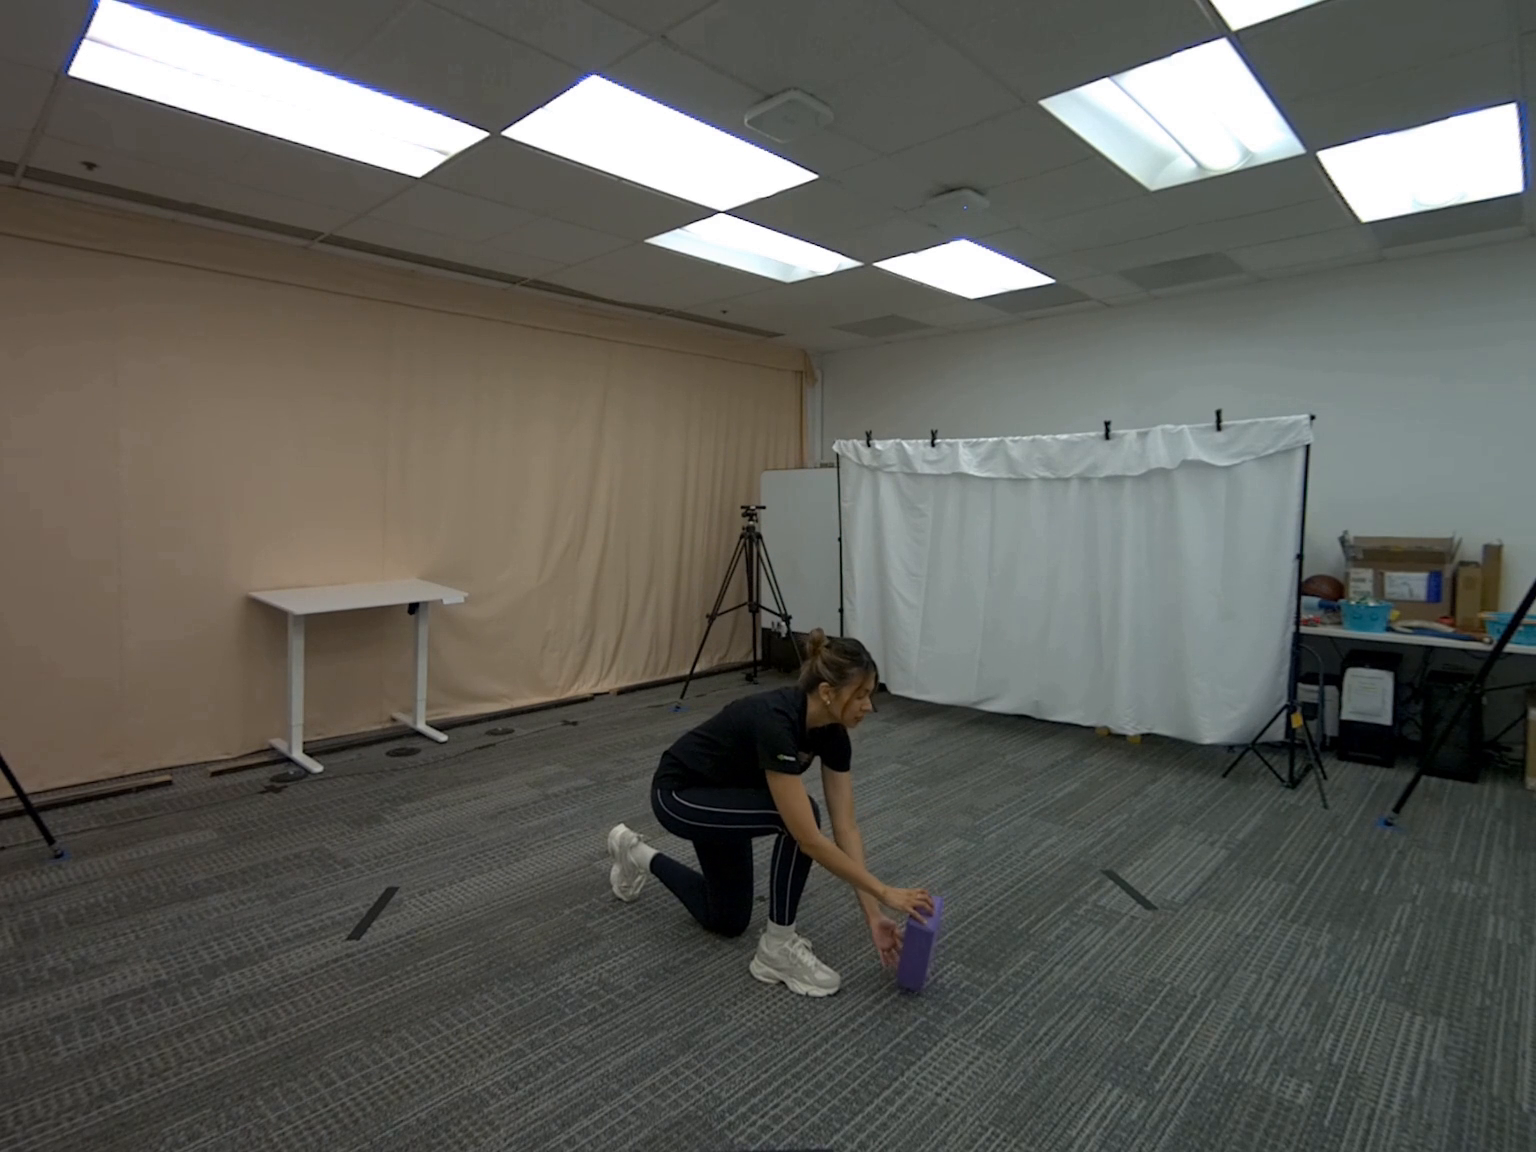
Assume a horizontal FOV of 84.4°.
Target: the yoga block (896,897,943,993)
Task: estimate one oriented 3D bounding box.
[{"bbox_3d":[0.447,1.041,2.389,0.078,0.227,0.147,13,20,17],"label":"yoga block"}]
